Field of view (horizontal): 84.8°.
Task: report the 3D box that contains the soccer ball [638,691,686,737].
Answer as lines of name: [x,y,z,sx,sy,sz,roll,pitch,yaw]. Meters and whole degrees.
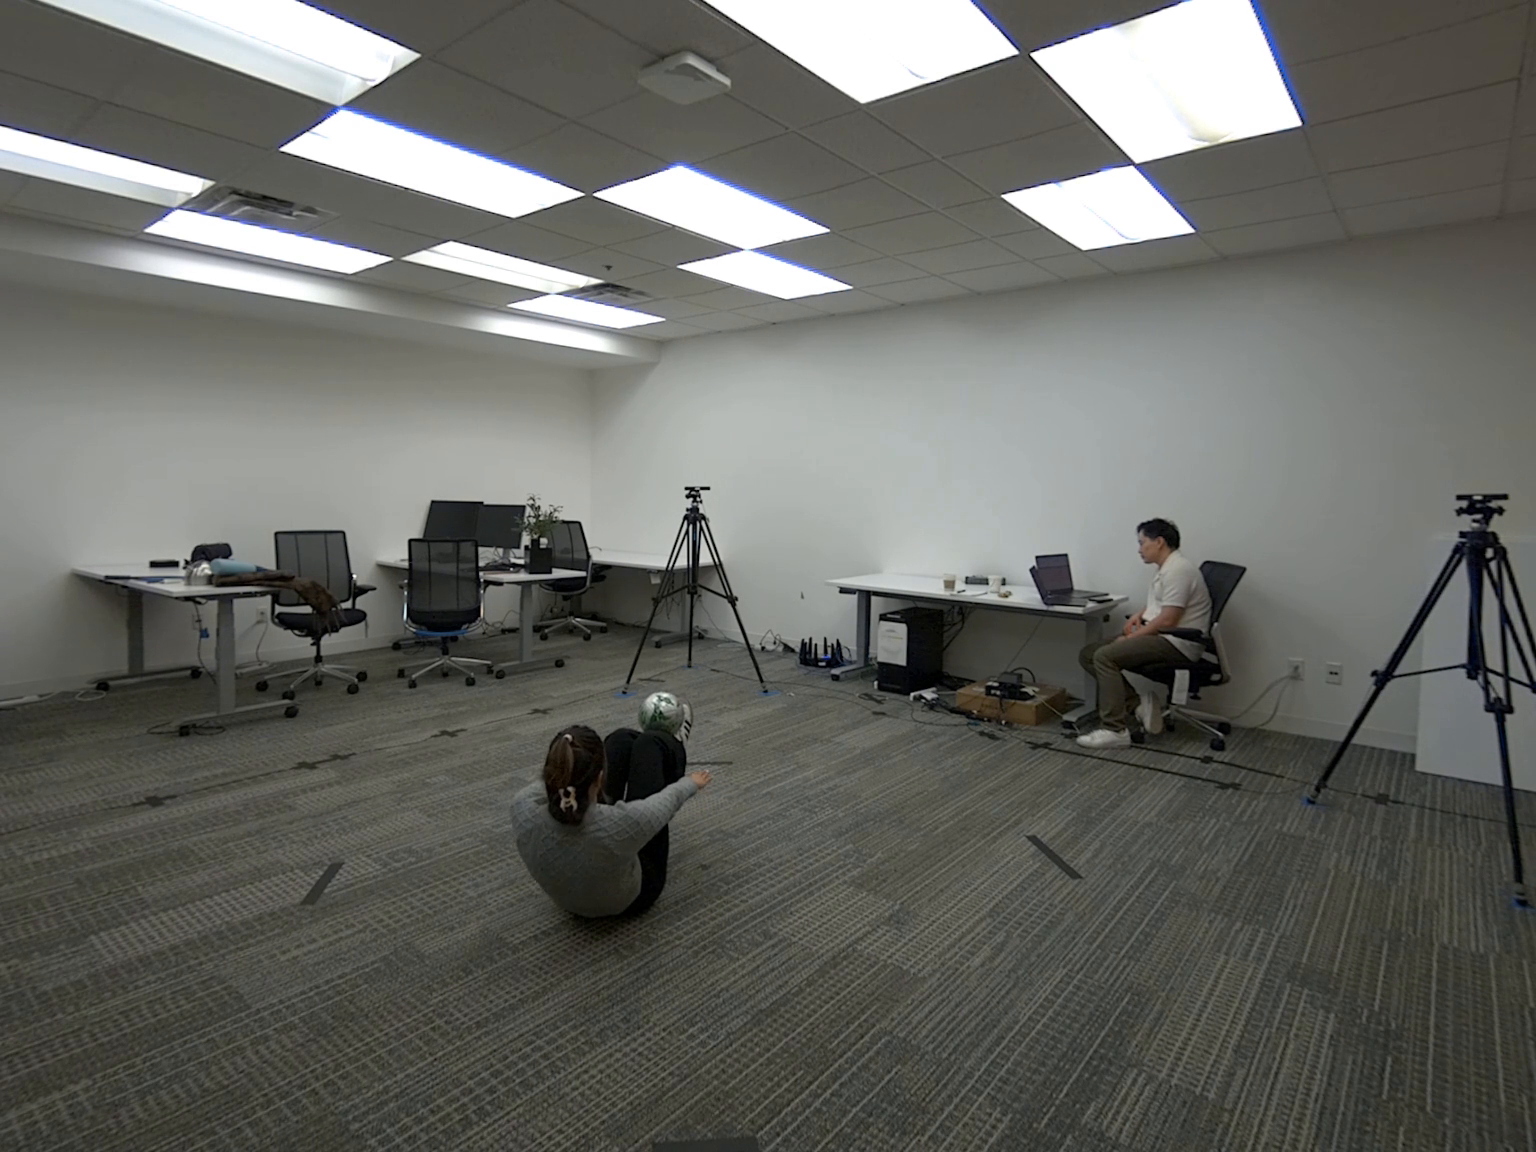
soccer ball: [-0.443,0.555,3.402,0.187,0.187,0.188,0,4,-2]
